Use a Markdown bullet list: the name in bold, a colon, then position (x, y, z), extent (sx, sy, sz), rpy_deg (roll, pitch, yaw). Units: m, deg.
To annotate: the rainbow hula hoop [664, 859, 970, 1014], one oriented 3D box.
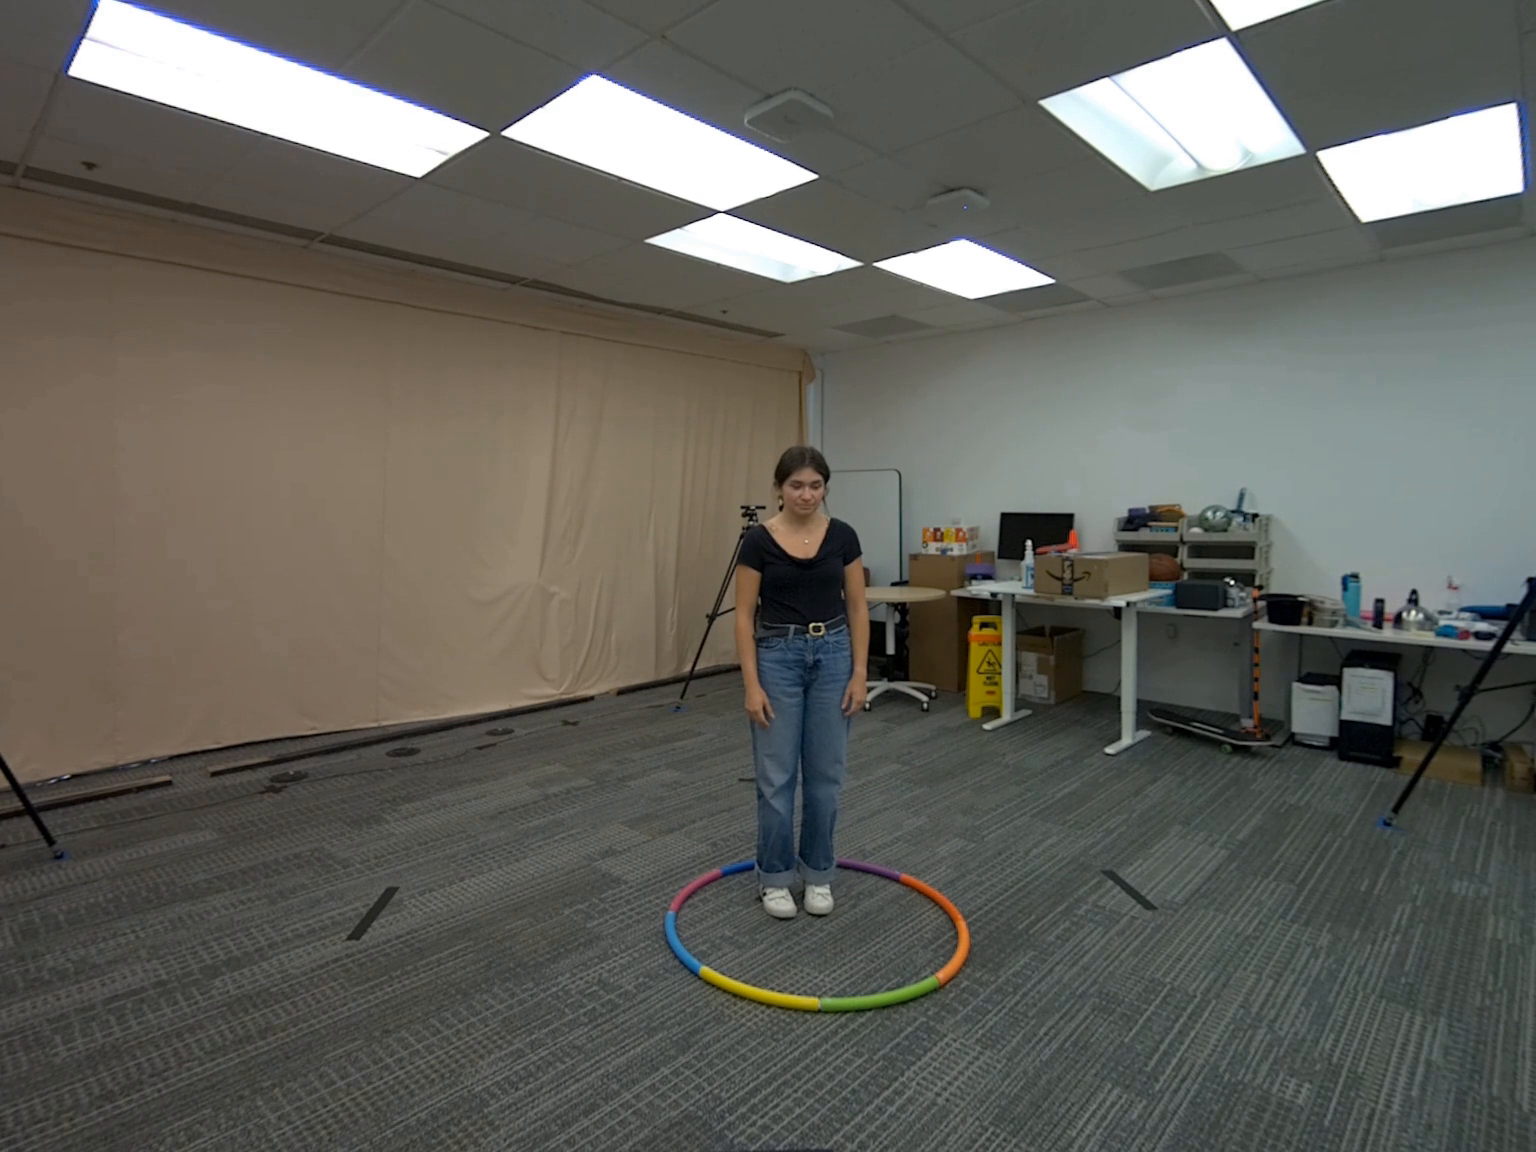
- **rainbow hula hoop**: position (0.162, 1.132, 2.795), extent (0.978, 0.035, 0.982), rpy_deg (0, 5, -2)
